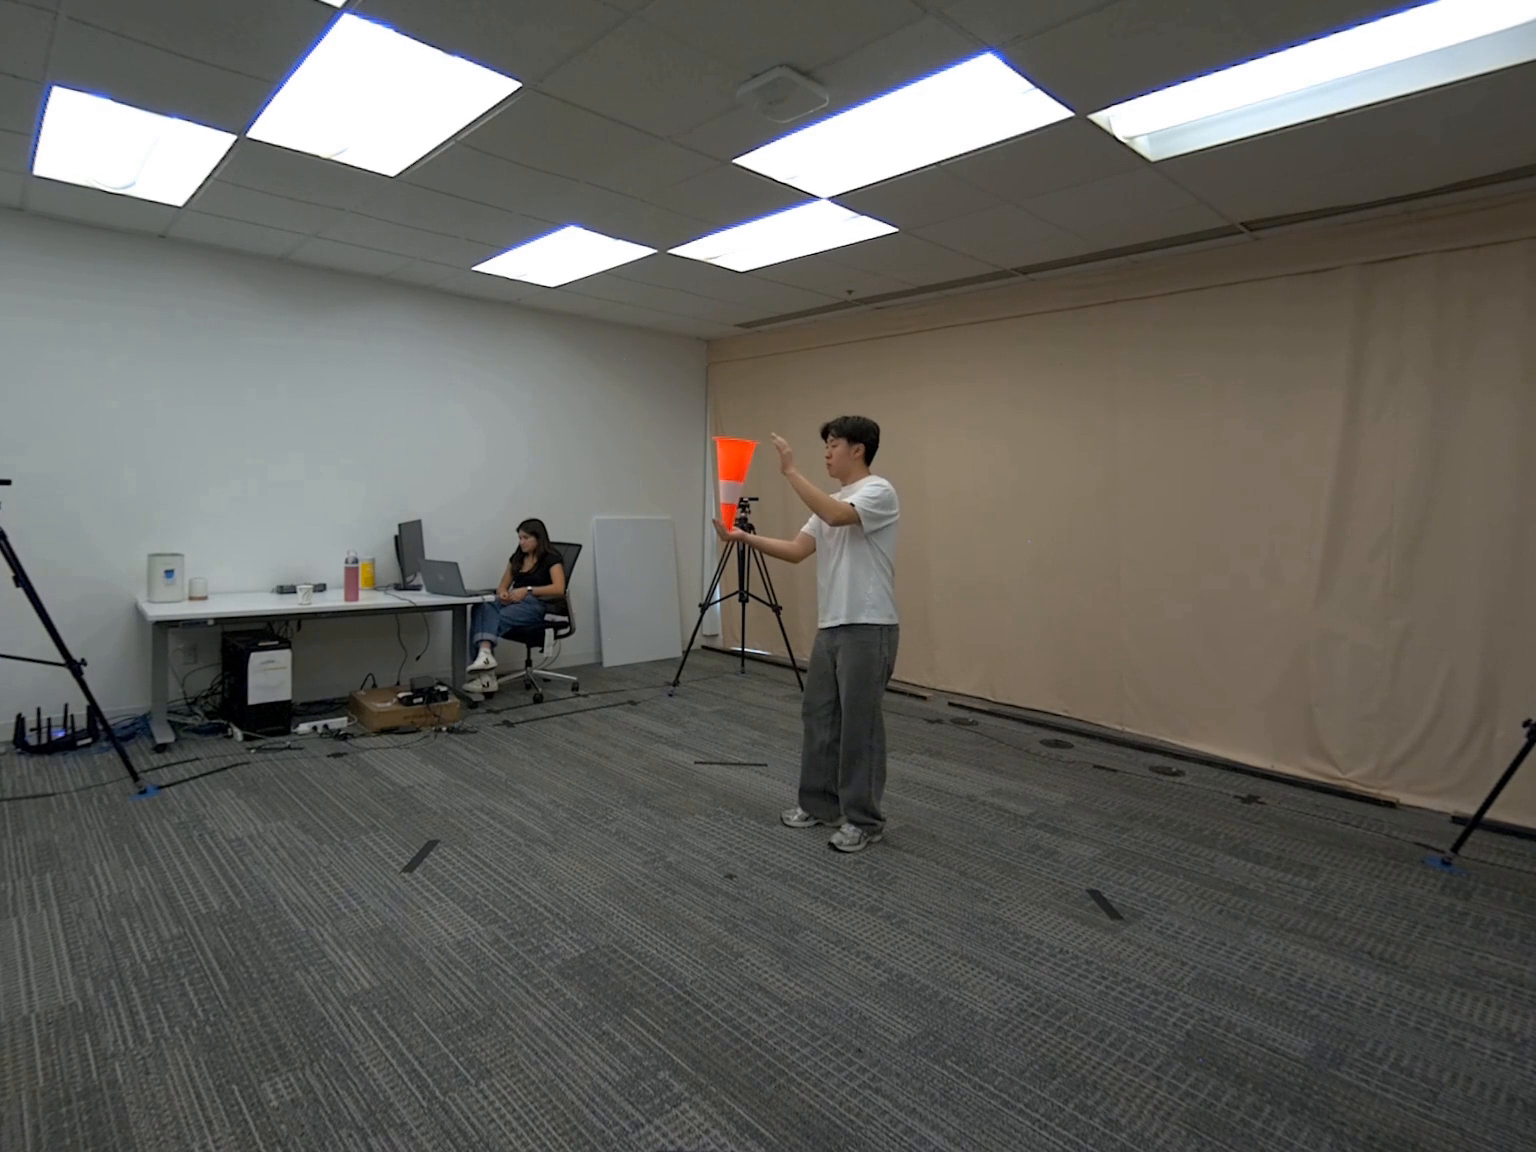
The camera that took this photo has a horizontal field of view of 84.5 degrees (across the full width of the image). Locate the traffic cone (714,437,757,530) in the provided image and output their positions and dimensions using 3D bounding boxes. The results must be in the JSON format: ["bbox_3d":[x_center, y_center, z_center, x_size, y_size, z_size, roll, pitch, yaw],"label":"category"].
[{"bbox_3d":[-0.156,-0.356,3.423,0.207,0.383,0.202,7,4,10],"label":"traffic cone"}]
